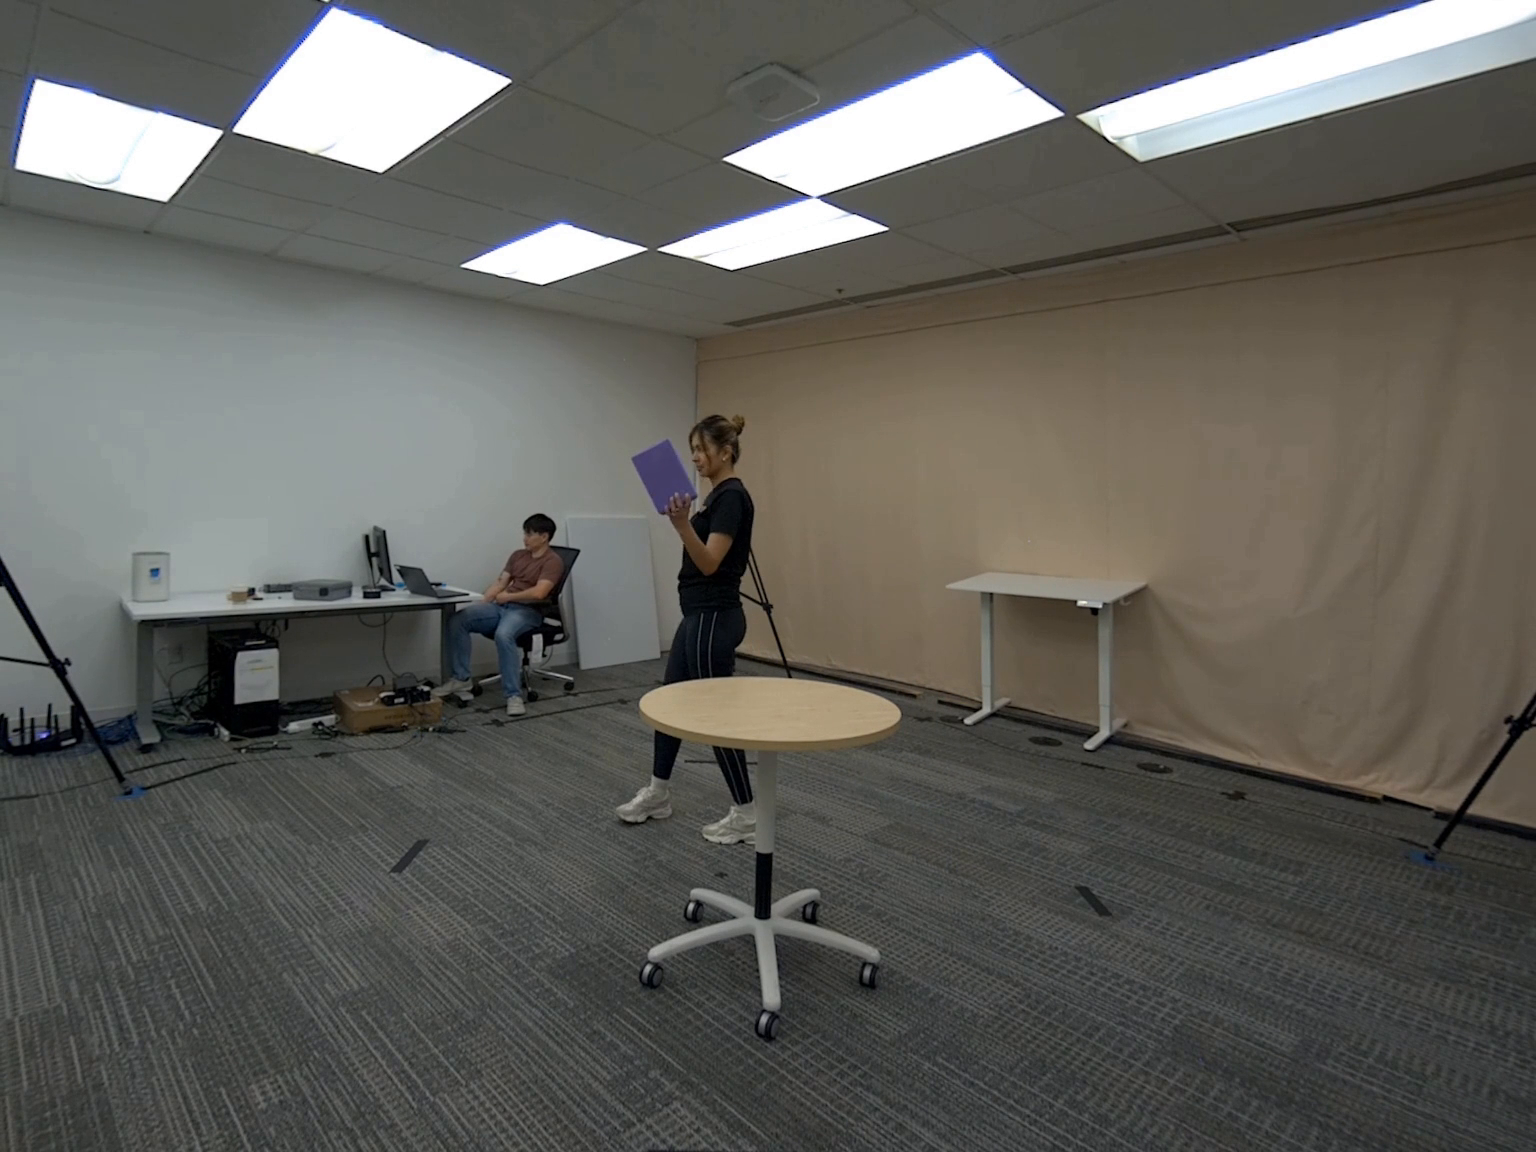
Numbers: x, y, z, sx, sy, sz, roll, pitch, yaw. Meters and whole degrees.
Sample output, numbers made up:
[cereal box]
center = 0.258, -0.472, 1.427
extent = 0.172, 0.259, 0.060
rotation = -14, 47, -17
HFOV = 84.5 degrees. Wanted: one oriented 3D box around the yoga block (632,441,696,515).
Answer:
[yoga block]
center = -0.363, -0.346, 2.948
extent = 0.149, 0.229, 0.076
rotation = -25, 1, 3
